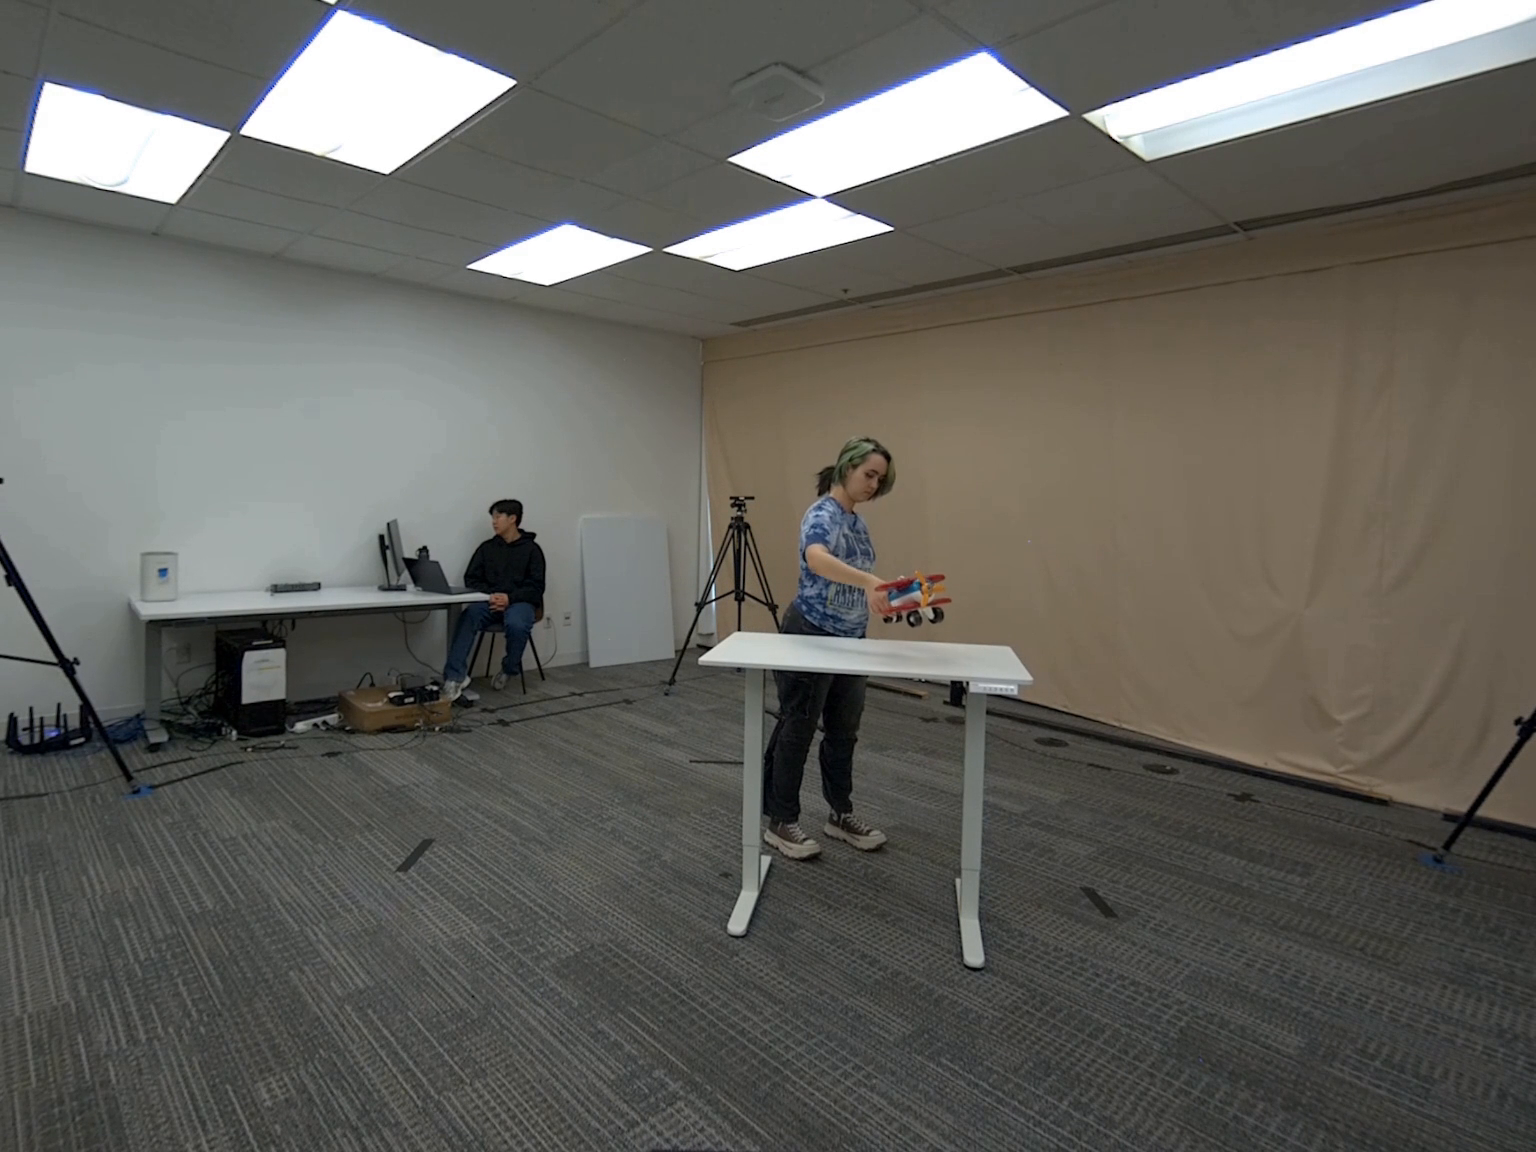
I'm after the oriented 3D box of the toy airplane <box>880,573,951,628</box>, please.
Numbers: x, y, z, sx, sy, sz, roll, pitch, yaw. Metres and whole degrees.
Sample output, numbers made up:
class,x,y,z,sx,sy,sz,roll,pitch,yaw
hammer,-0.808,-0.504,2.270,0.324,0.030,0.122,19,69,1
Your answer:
class,x,y,z,sx,sy,sz,roll,pitch,yaw
toy airplane,0.440,0.083,2.738,0.265,0.156,0.246,-4,3,36
